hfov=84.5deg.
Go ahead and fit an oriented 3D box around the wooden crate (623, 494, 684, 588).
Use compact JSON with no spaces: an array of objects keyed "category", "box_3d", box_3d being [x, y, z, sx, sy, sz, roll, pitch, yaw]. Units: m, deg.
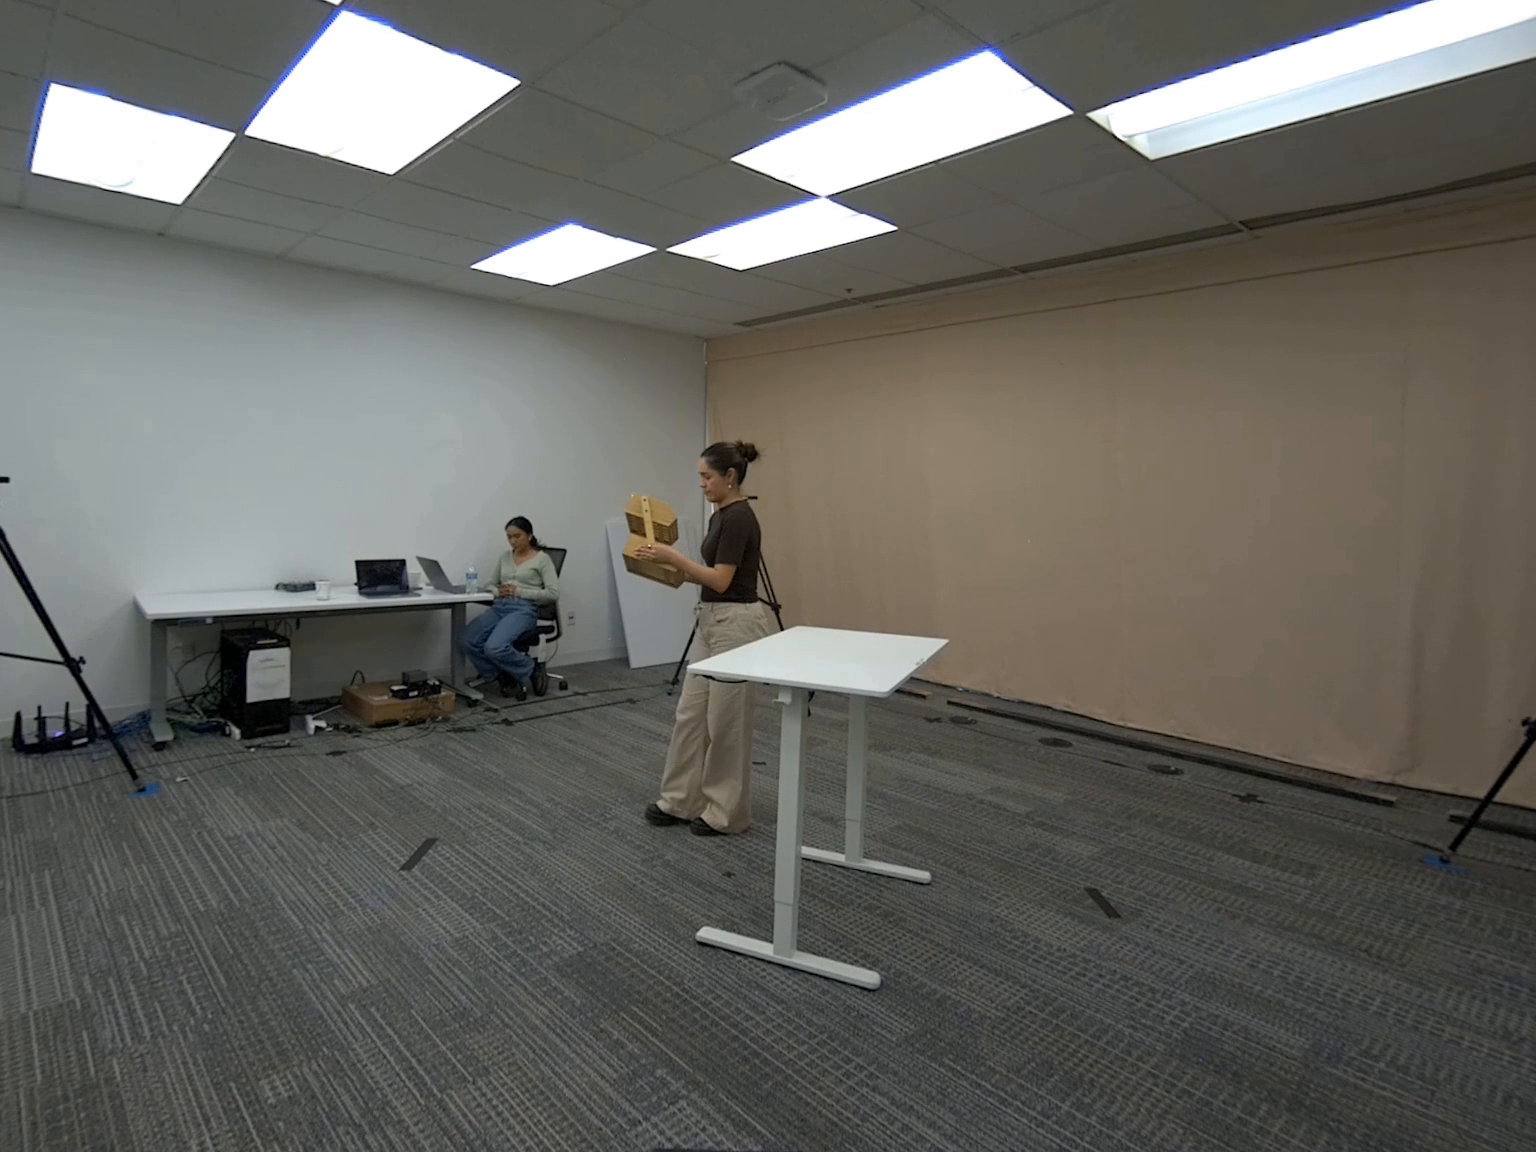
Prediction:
[{"category":"wooden crate","box_3d":[-0.463,-0.145,3.539,0.303,0.275,0.322,19,-16,1]}]
